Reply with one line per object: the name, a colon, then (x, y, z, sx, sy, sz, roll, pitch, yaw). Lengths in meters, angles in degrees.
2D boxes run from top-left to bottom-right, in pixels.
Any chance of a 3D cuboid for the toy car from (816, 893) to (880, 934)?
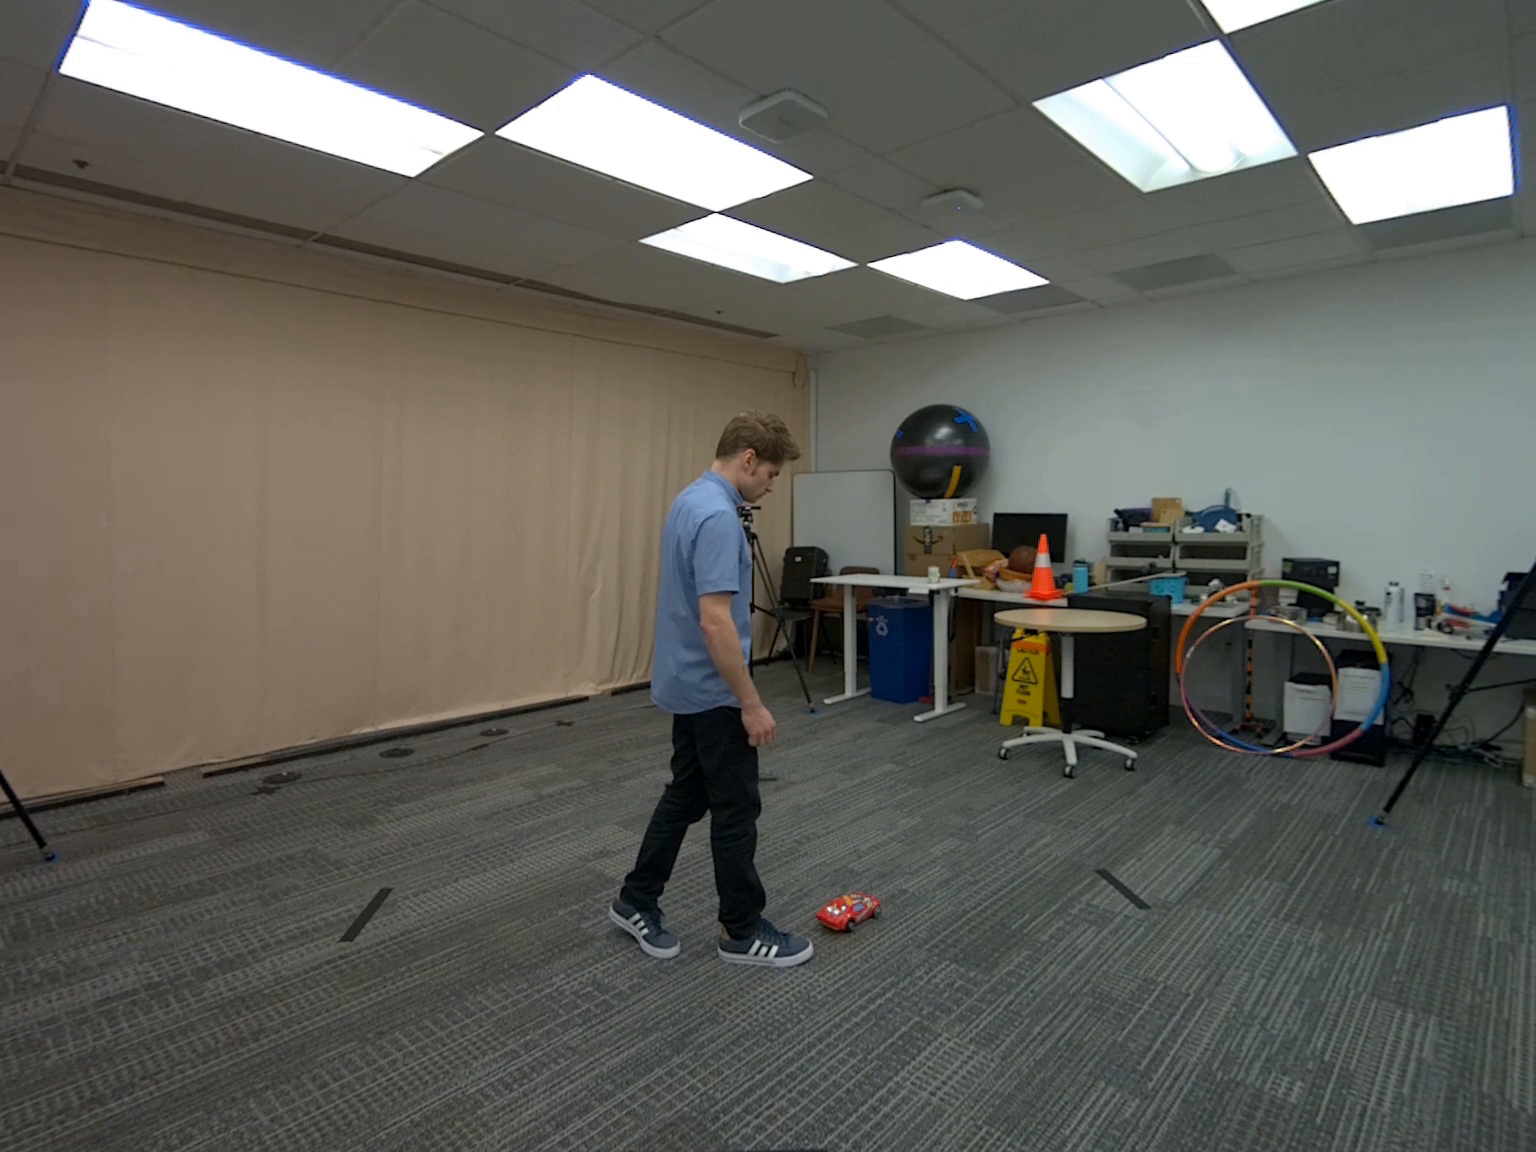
toy car: (0.269, 1.126, 2.814, 0.246, 0.083, 0.135, 10, -3, -43)
